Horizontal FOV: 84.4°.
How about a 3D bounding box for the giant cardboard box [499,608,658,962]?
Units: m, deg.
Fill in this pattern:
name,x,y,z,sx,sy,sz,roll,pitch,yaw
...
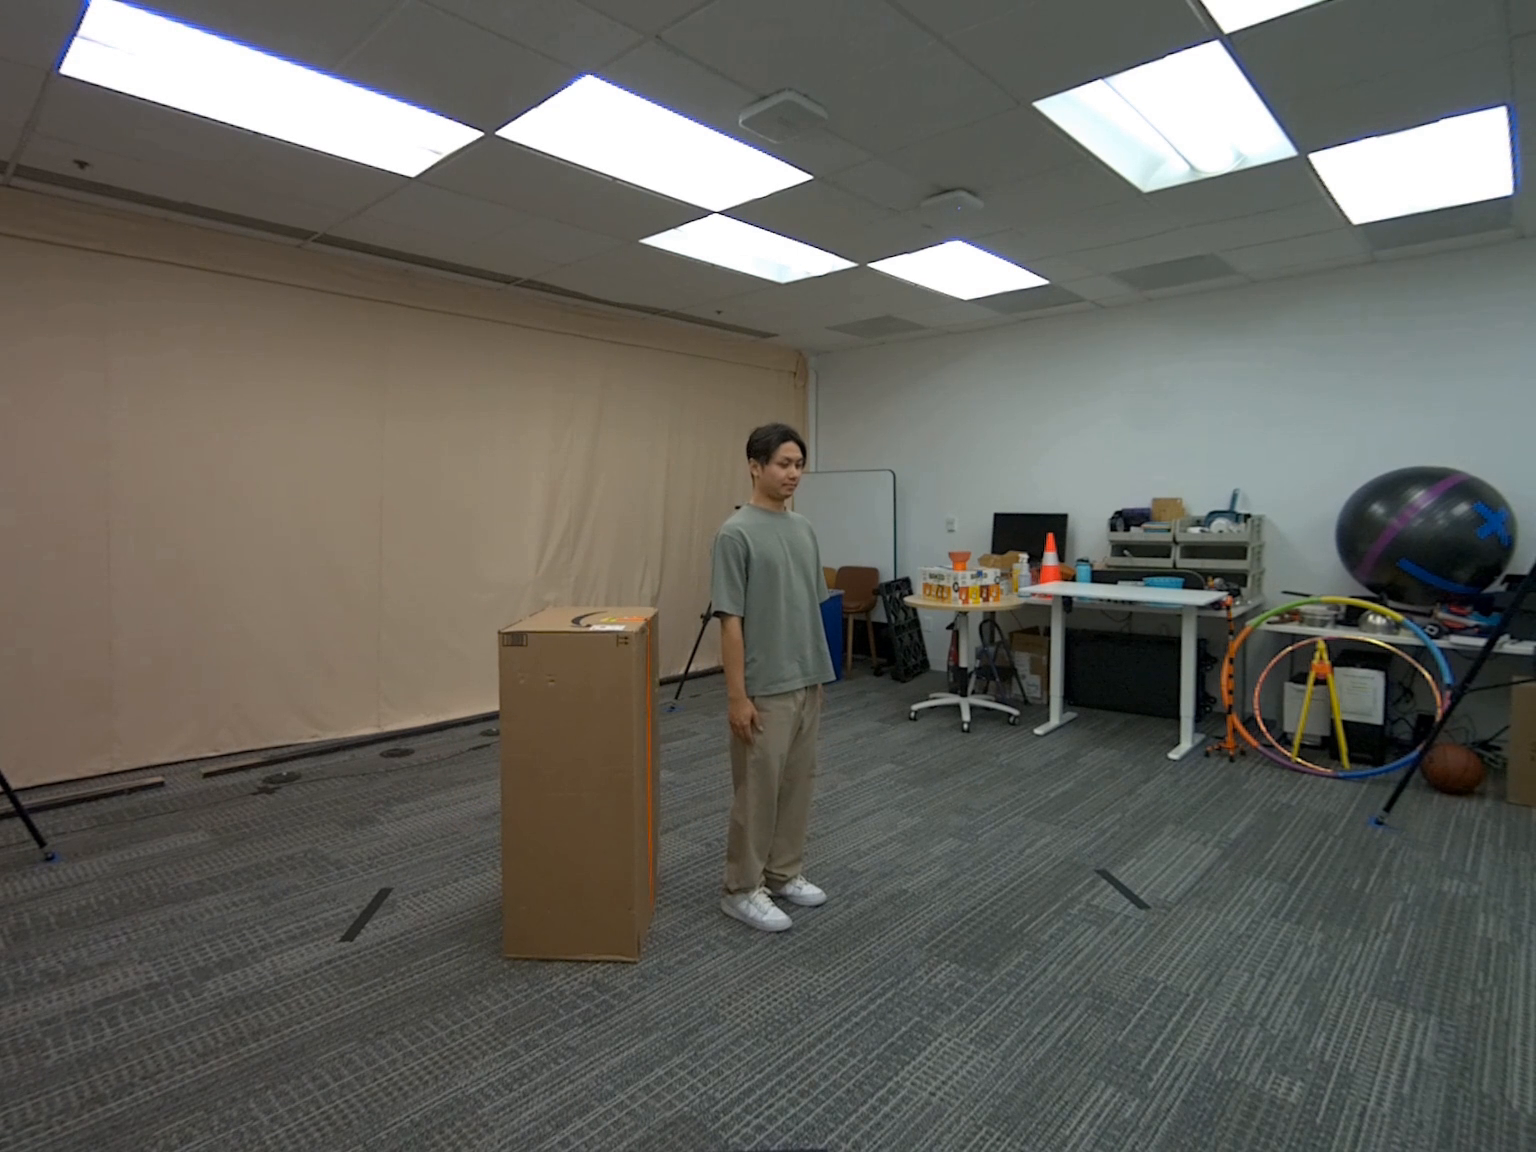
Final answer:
name,x,y,z,sx,sy,sz,roll,pitch,yaw
giant cardboard box,-0.607,0.650,2.836,0.427,1.024,0.578,0,3,0
